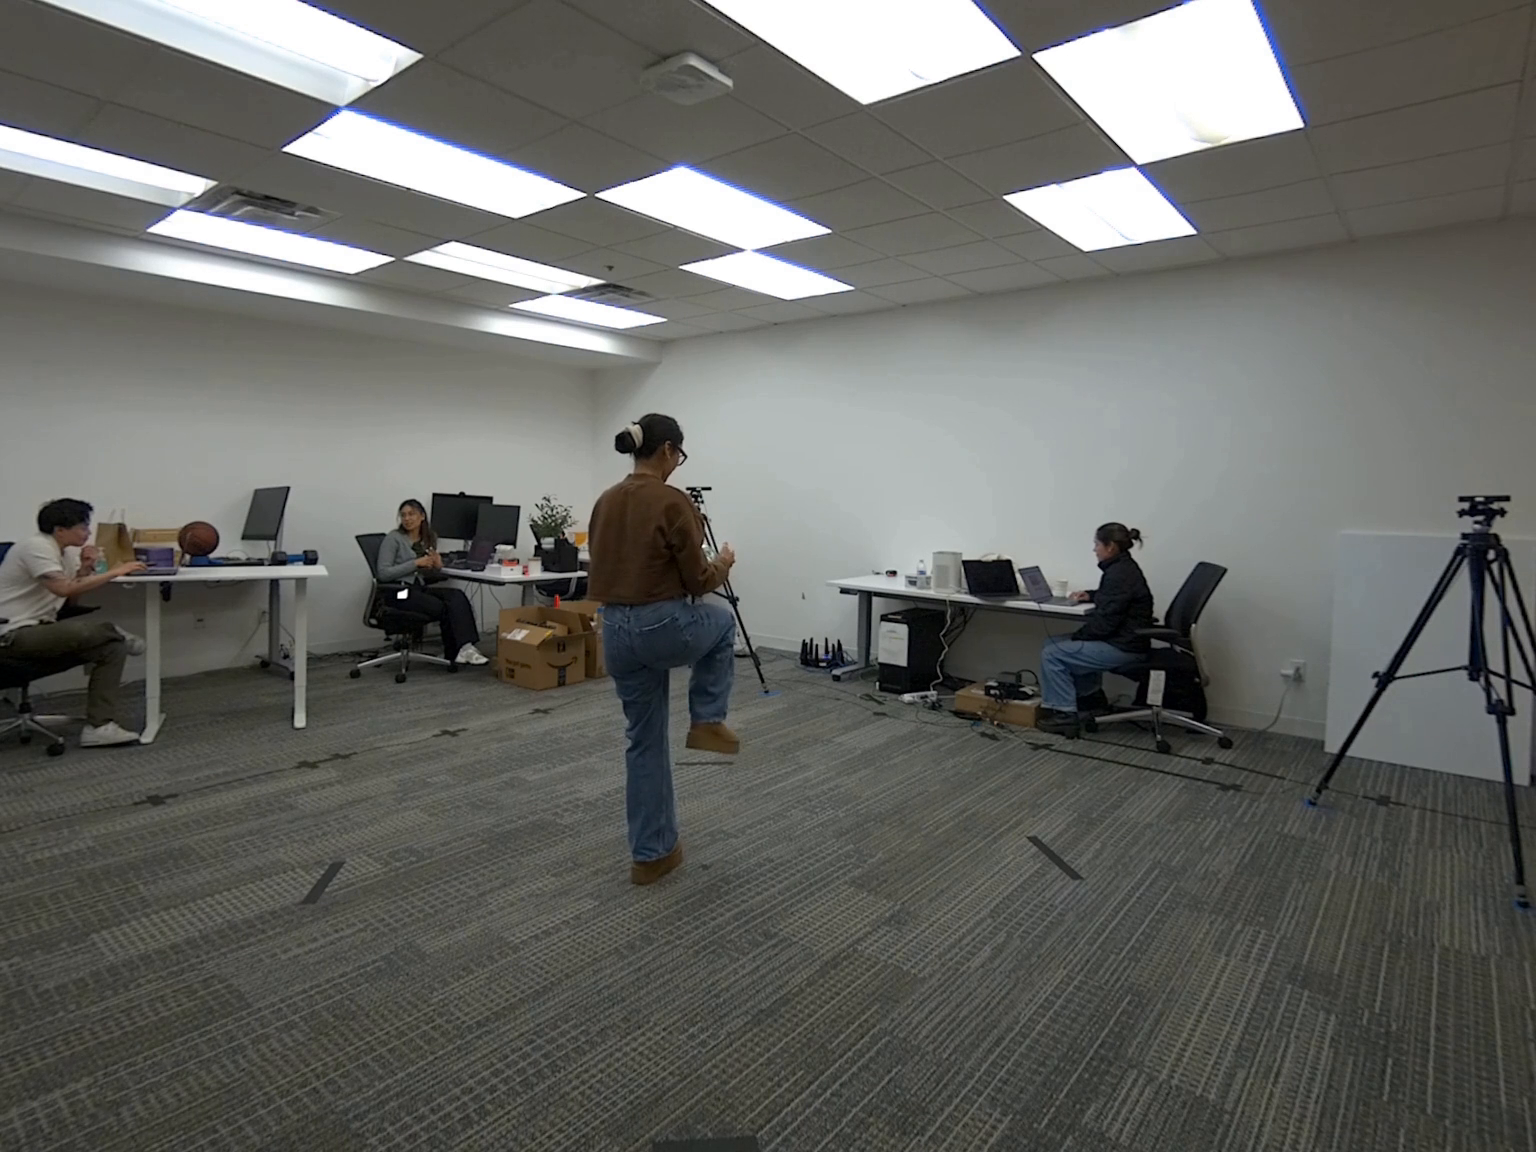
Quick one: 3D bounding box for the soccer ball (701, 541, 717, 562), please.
[{"bbox_3d":[-0.274,-0.039,3.187,0.187,0.187,0.188,1,4,-2],"label":"soccer ball"}]
